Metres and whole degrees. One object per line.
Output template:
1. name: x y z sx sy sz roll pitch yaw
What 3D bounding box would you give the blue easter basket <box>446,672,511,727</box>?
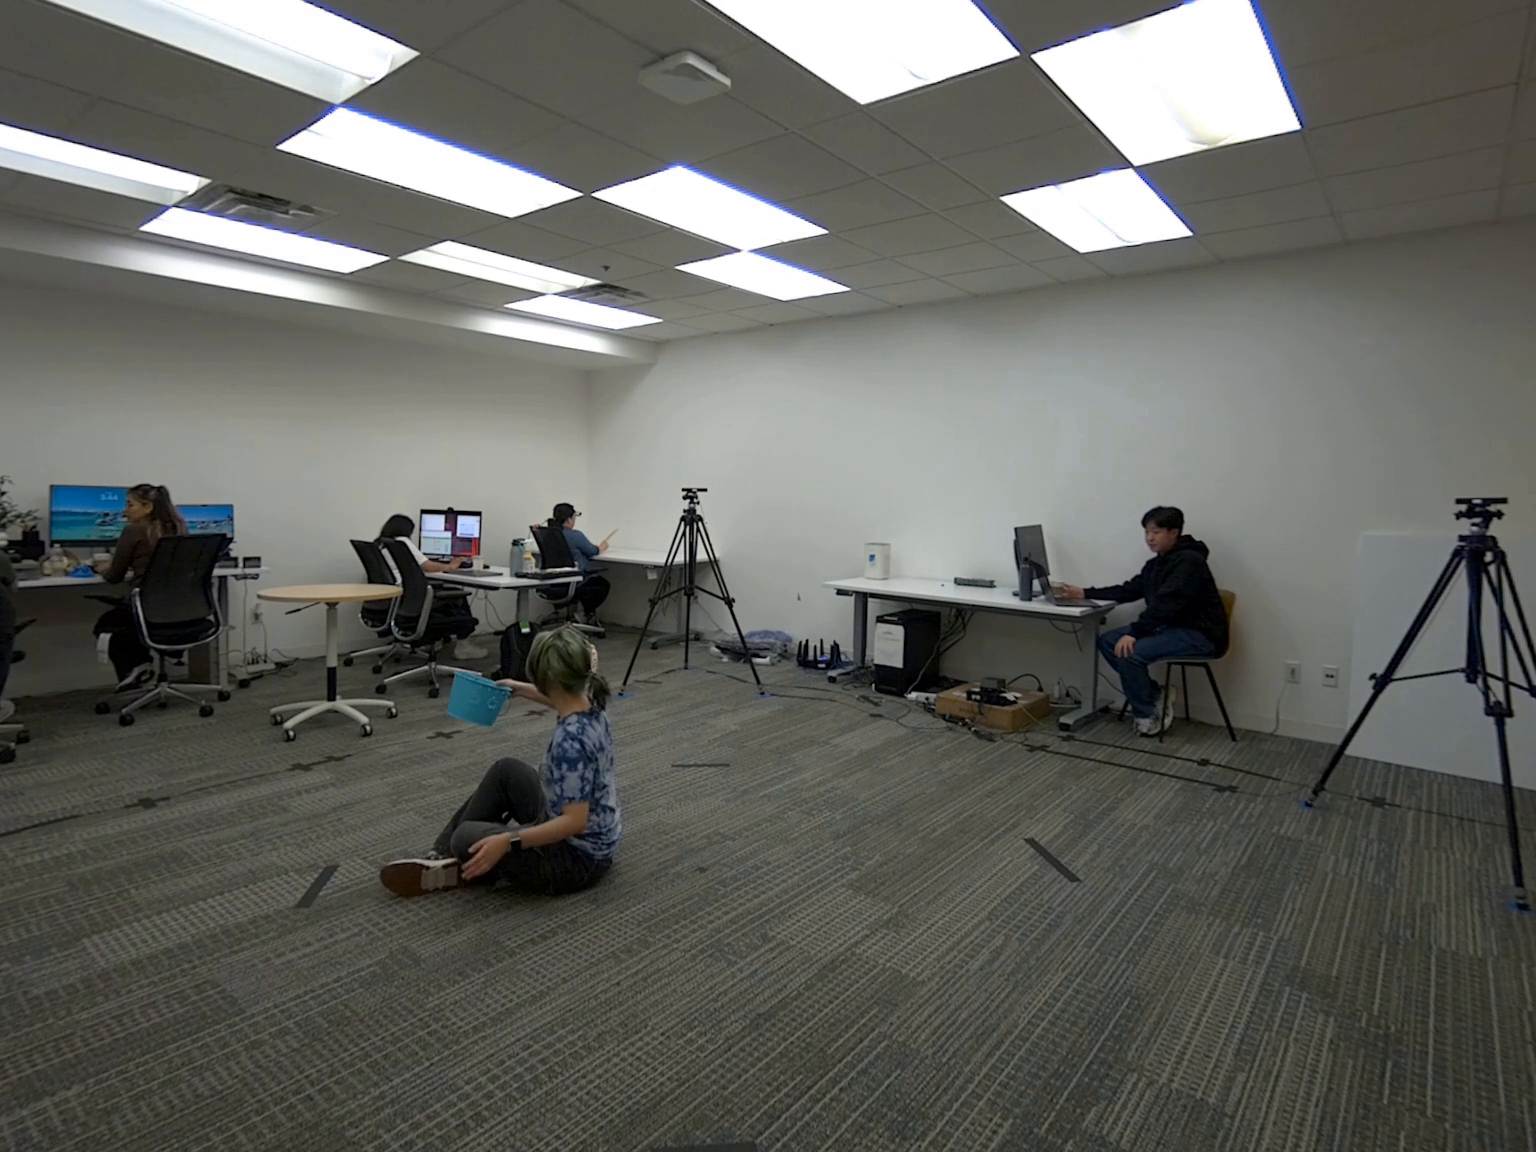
1. blue easter basket: -1.117 0.470 3.257 0.244 0.156 0.242 16 -6 0
